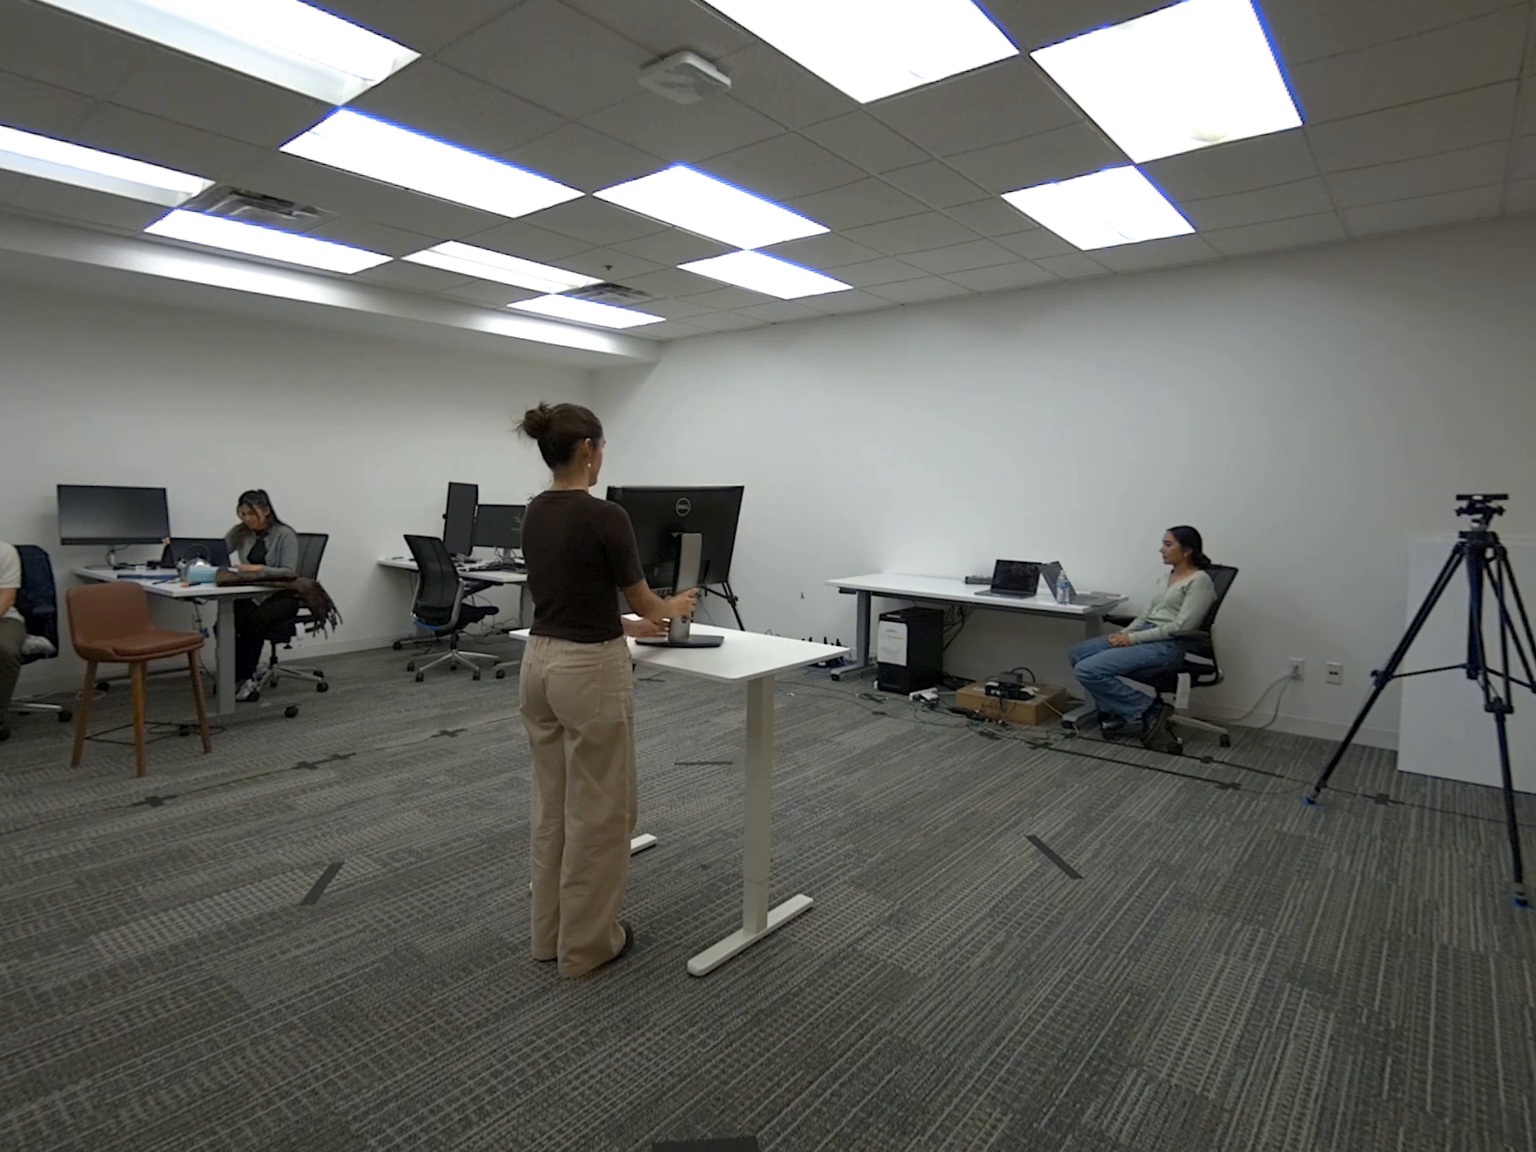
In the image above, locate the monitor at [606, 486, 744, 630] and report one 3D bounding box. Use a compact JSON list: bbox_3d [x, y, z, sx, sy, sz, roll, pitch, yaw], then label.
[{"bbox_3d":[-0.309,-0.033,2.752,0.523,0.520,0.193,-5,8,-42],"label":"monitor"}]
